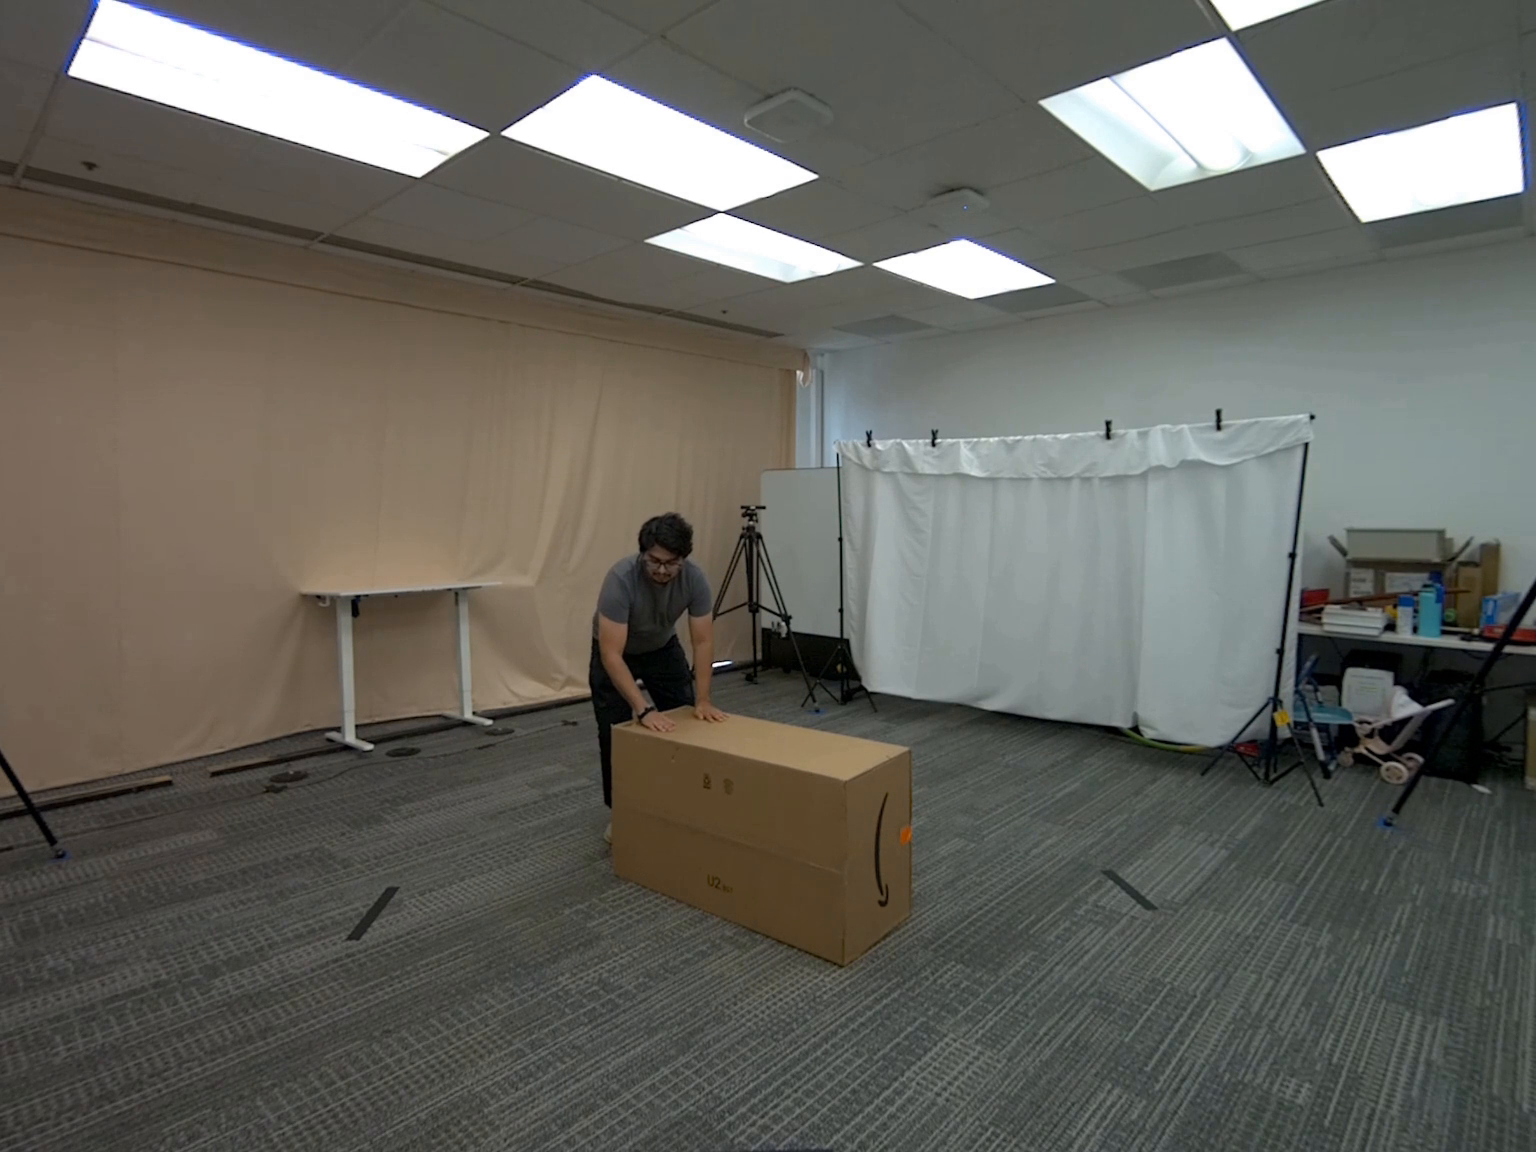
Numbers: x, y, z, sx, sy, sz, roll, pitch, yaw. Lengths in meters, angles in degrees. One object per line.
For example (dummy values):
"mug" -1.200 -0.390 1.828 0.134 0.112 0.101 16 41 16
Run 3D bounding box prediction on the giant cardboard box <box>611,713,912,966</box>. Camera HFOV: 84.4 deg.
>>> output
"giant cardboard box" -0.041 0.852 3.002 1.059 0.576 0.413 3 4 39
